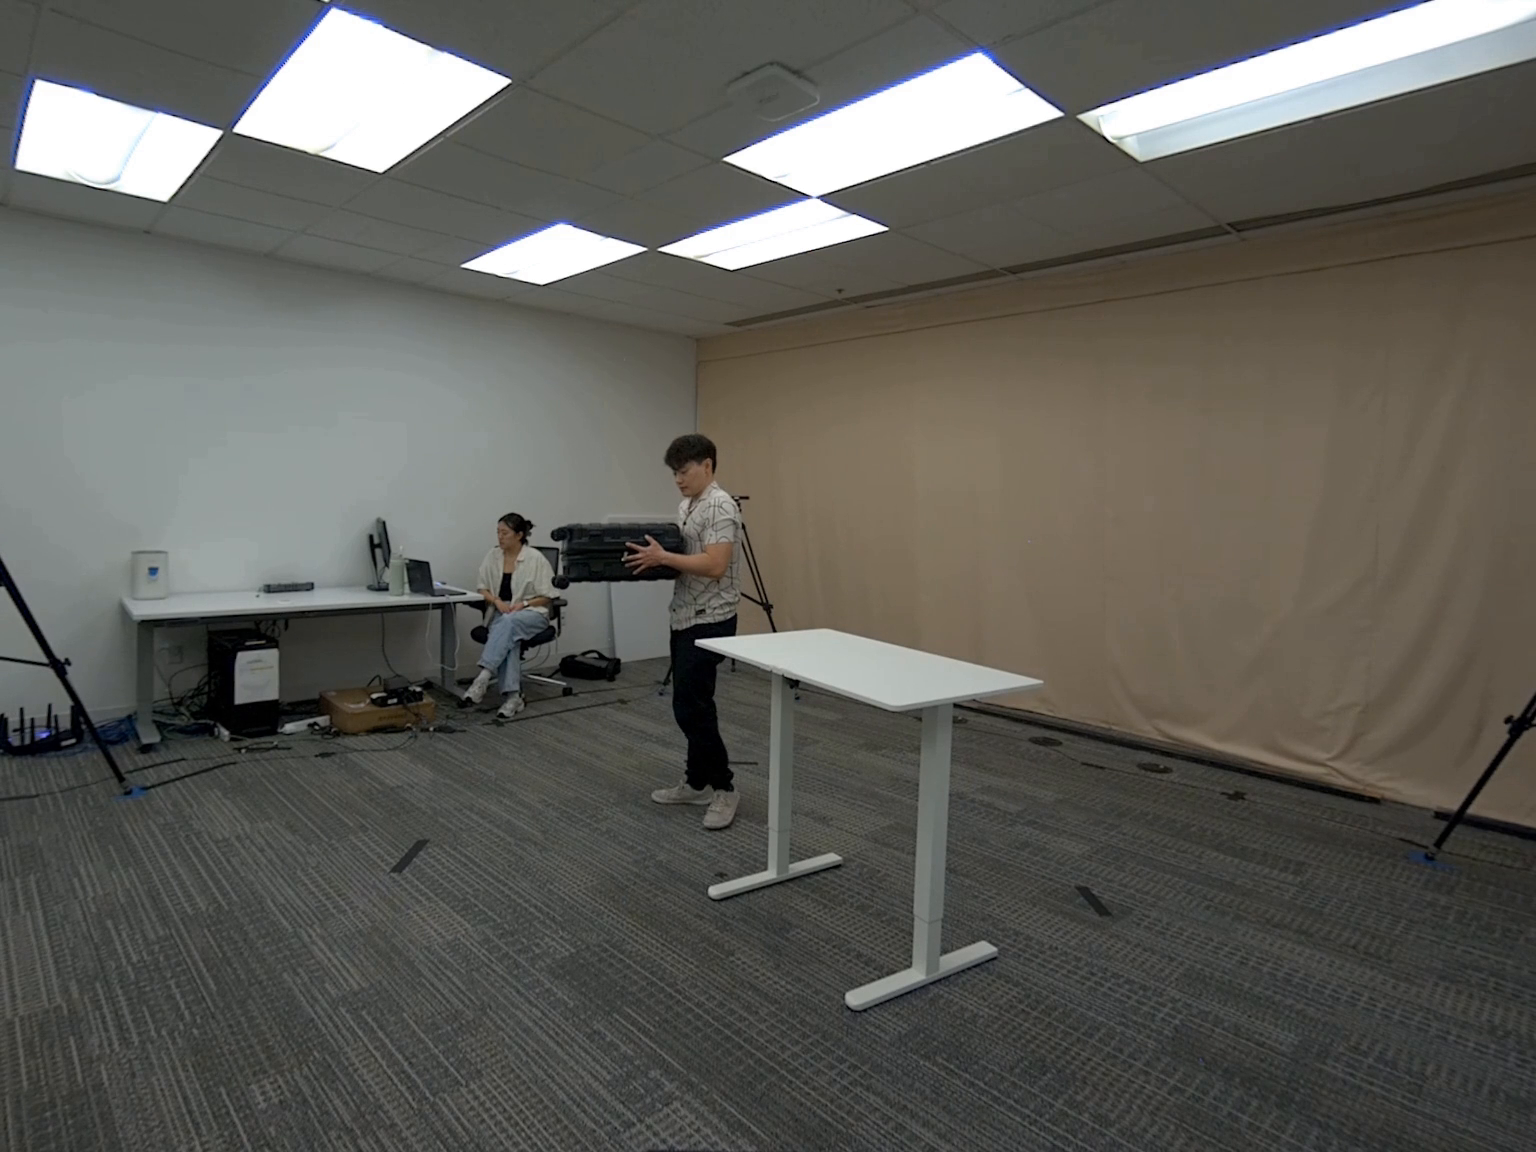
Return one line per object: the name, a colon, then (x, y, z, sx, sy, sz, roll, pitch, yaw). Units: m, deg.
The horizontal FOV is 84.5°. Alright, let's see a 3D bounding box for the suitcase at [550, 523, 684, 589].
suitcase: (-0.665, -0.100, 3.669, 0.542, 0.248, 0.380, -3, 1, -19)
